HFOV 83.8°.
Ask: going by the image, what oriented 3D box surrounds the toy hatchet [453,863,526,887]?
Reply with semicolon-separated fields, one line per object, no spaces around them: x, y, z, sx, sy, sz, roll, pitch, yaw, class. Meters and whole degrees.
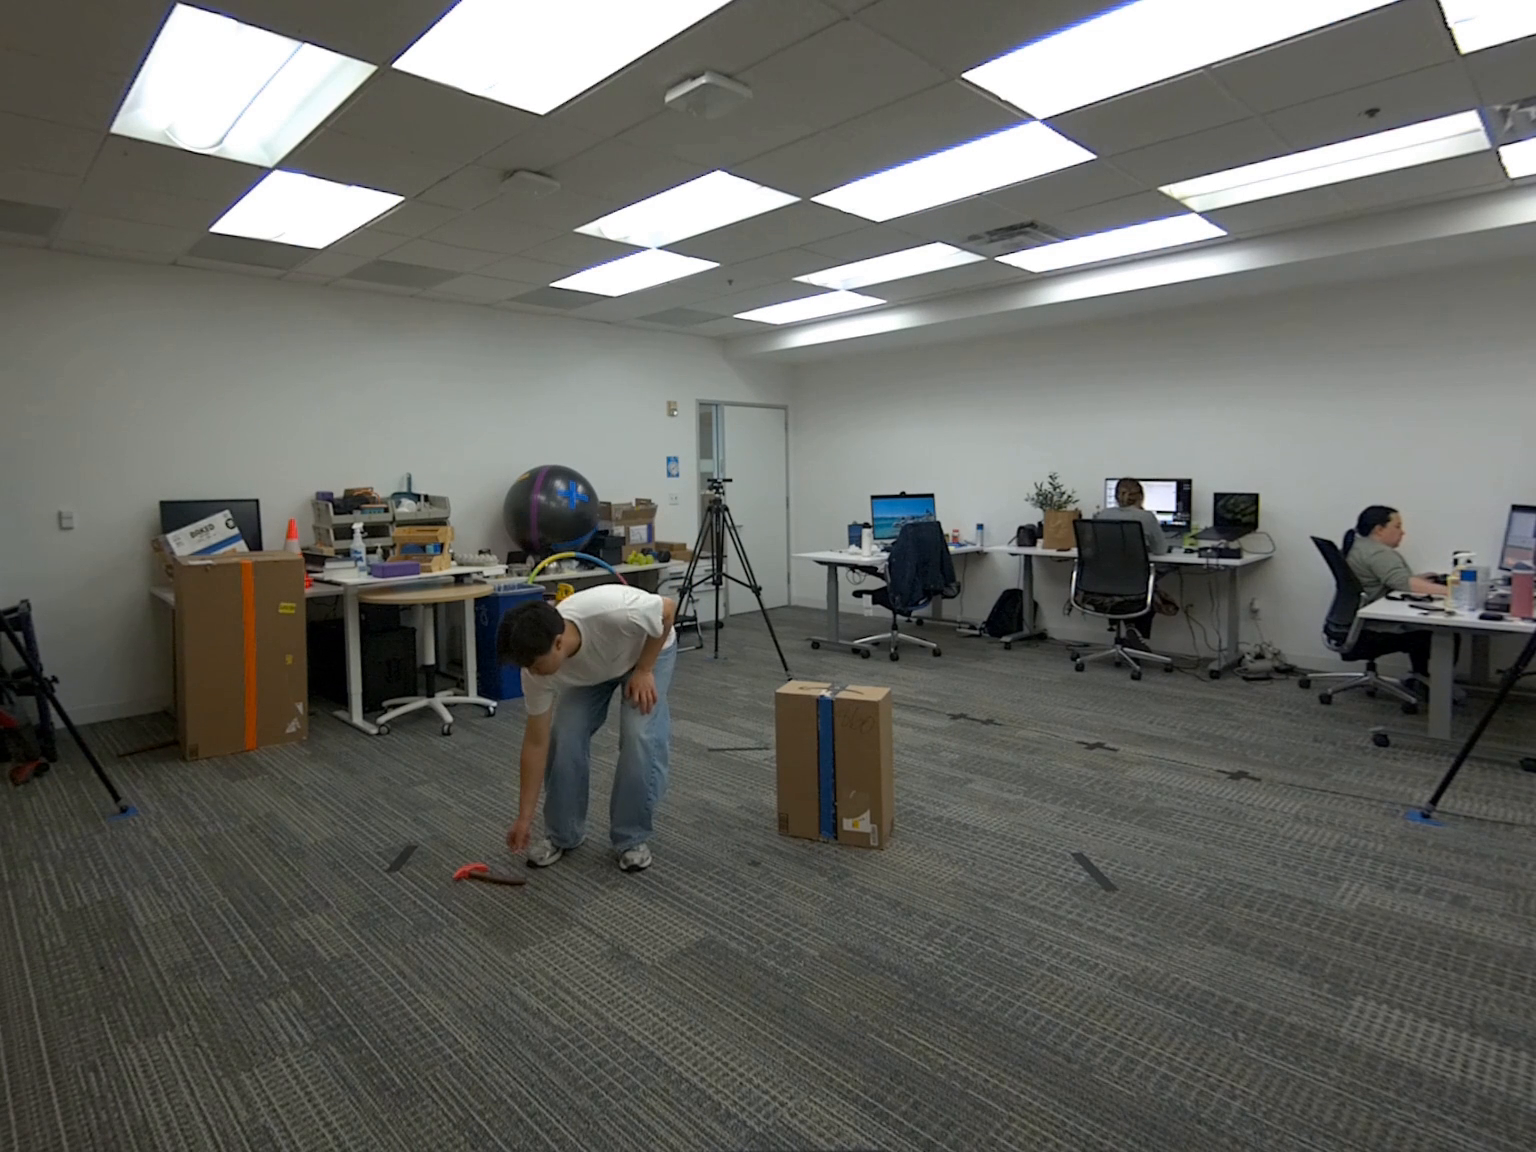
-0.969;1.057;3.045;0.273;0.029;0.130;2;3;9;toy hatchet
